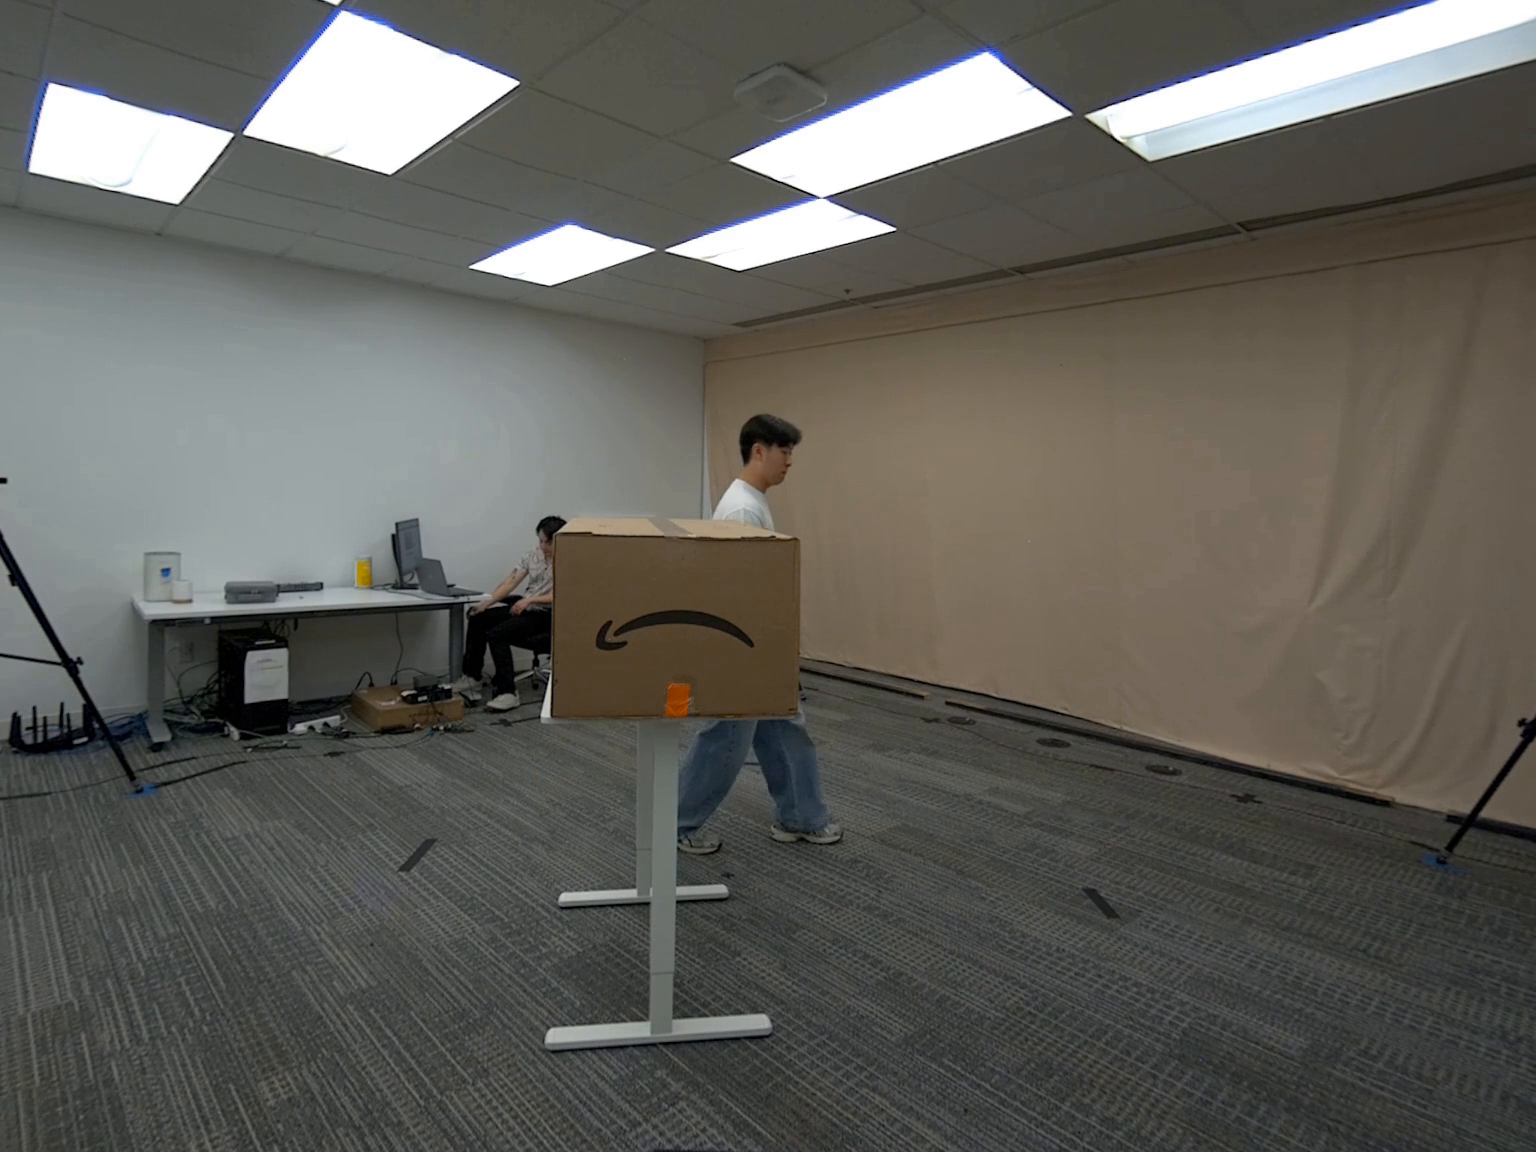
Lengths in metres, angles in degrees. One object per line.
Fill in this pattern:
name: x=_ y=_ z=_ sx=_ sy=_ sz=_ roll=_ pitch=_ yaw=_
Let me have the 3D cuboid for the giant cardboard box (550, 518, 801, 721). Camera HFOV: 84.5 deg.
giant cardboard box: x=-0.309 y=0.069 z=2.444 sx=0.573 sy=0.425 sz=1.037 roll=1 pitch=6 yaw=-10
